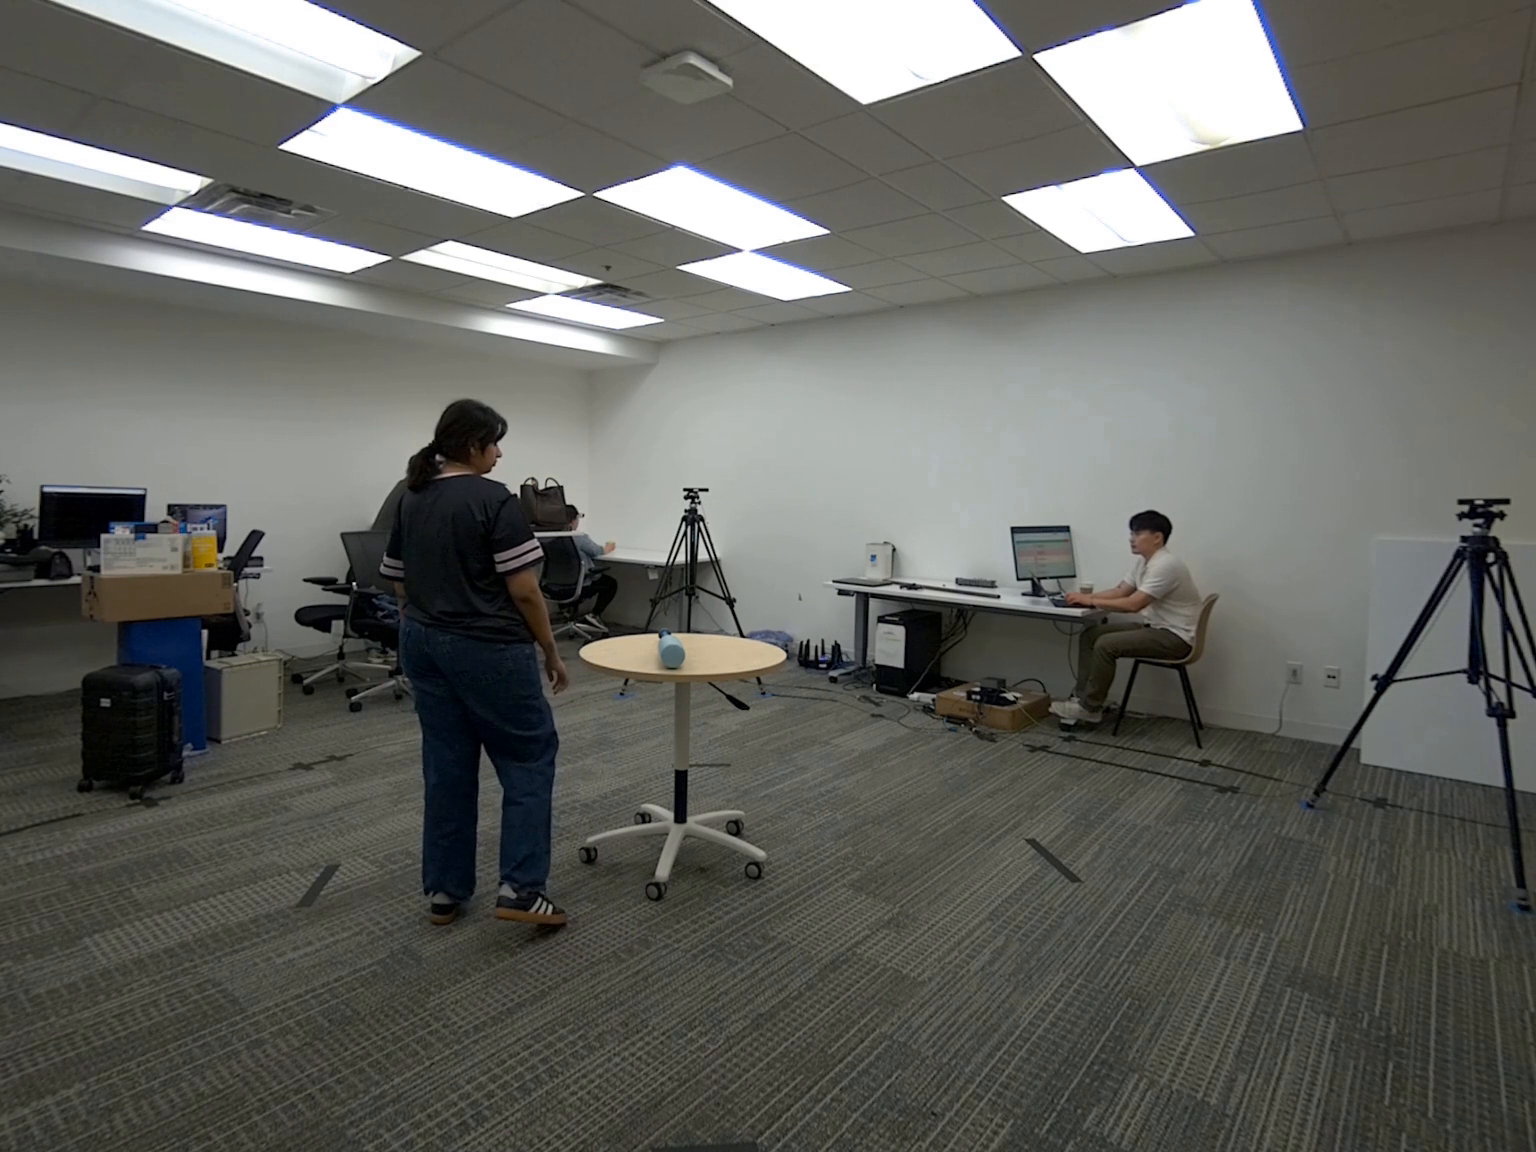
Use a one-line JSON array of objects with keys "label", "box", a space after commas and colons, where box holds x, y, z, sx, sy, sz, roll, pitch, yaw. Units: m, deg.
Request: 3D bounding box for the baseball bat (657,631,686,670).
[{"label": "baseball bat", "box": [-0.369, 0.245, 3.102, 0.088, 0.089, 0.551, 0, 4, -13]}]
